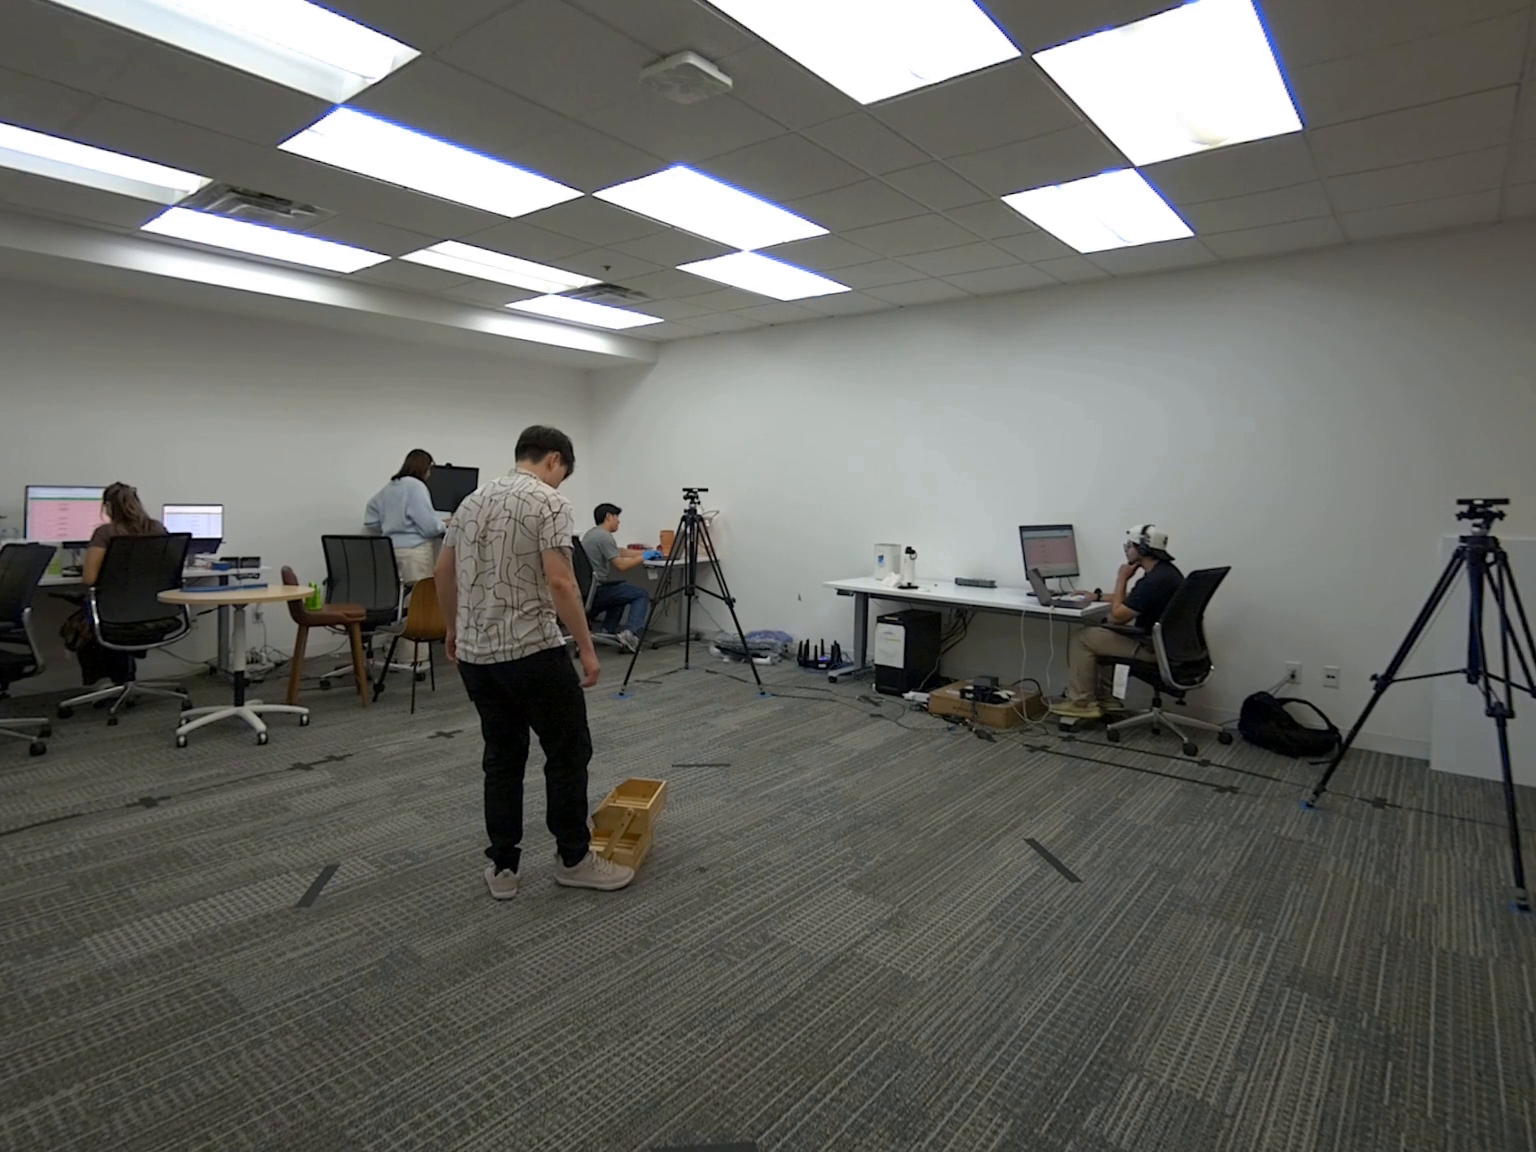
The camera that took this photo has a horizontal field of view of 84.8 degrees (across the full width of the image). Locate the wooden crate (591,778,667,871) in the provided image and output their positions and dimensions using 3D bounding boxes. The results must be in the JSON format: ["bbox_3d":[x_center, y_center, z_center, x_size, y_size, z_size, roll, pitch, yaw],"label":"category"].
[{"bbox_3d":[-0.575,0.927,3.170,0.305,0.272,0.323,3,5,7],"label":"wooden crate"}]
